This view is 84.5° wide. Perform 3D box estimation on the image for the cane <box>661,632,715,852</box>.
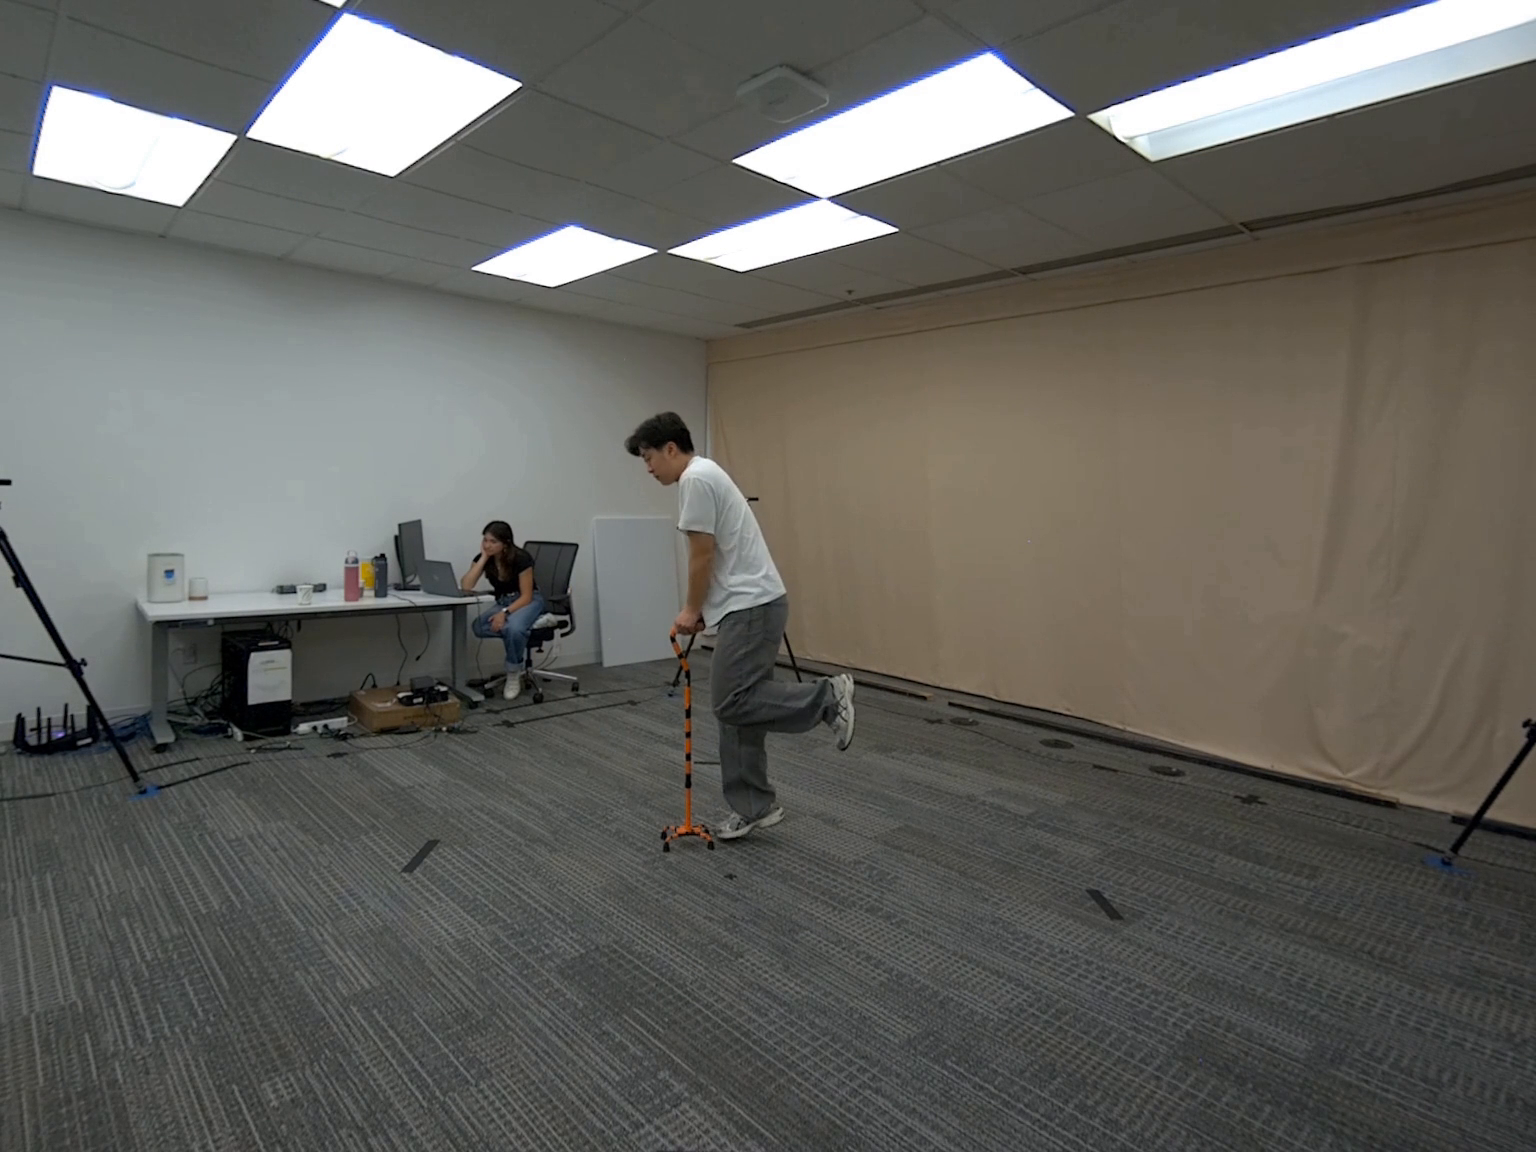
[{"bbox_3d":[-0.332,0.633,3.375,0.205,0.907,0.153,0,1,-10],"label":"cane"}]
